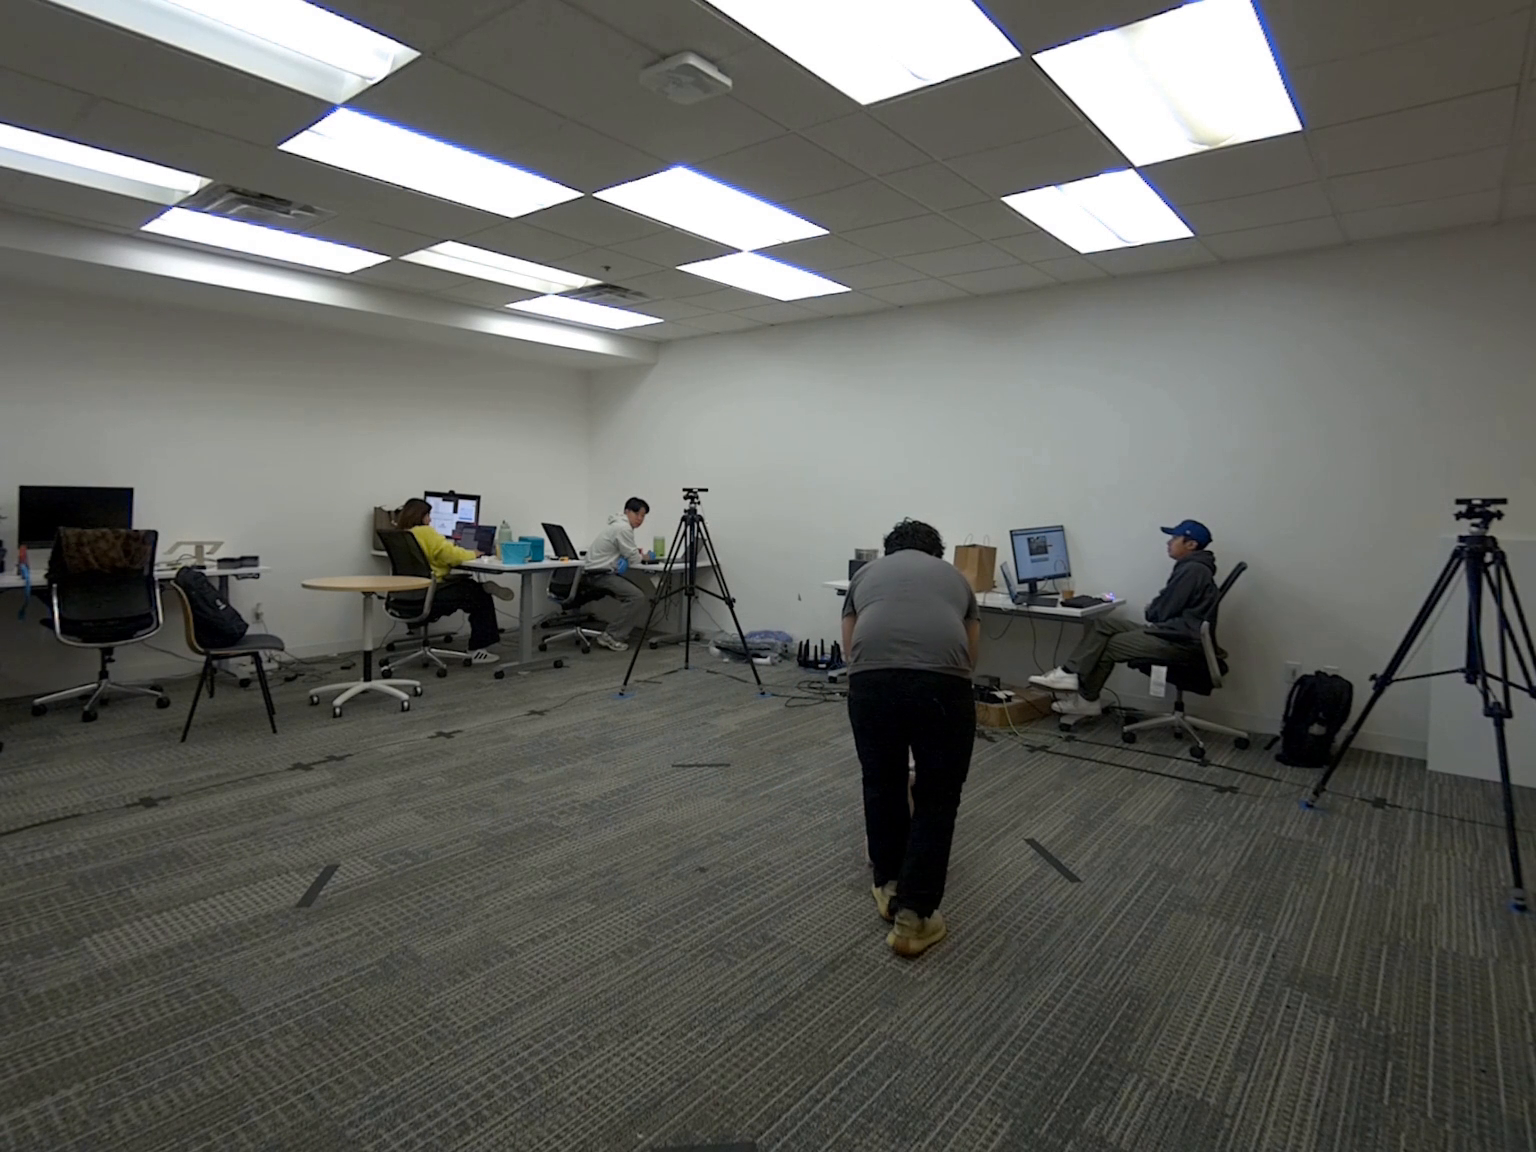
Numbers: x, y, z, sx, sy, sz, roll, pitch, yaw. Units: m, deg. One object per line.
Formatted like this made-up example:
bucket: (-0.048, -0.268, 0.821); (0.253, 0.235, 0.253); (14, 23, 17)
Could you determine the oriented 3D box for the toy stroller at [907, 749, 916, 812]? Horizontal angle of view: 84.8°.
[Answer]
toy stroller: (0.508, 0.843, 3.220); (0.285, 0.525, 0.343); (2, 19, 12)
